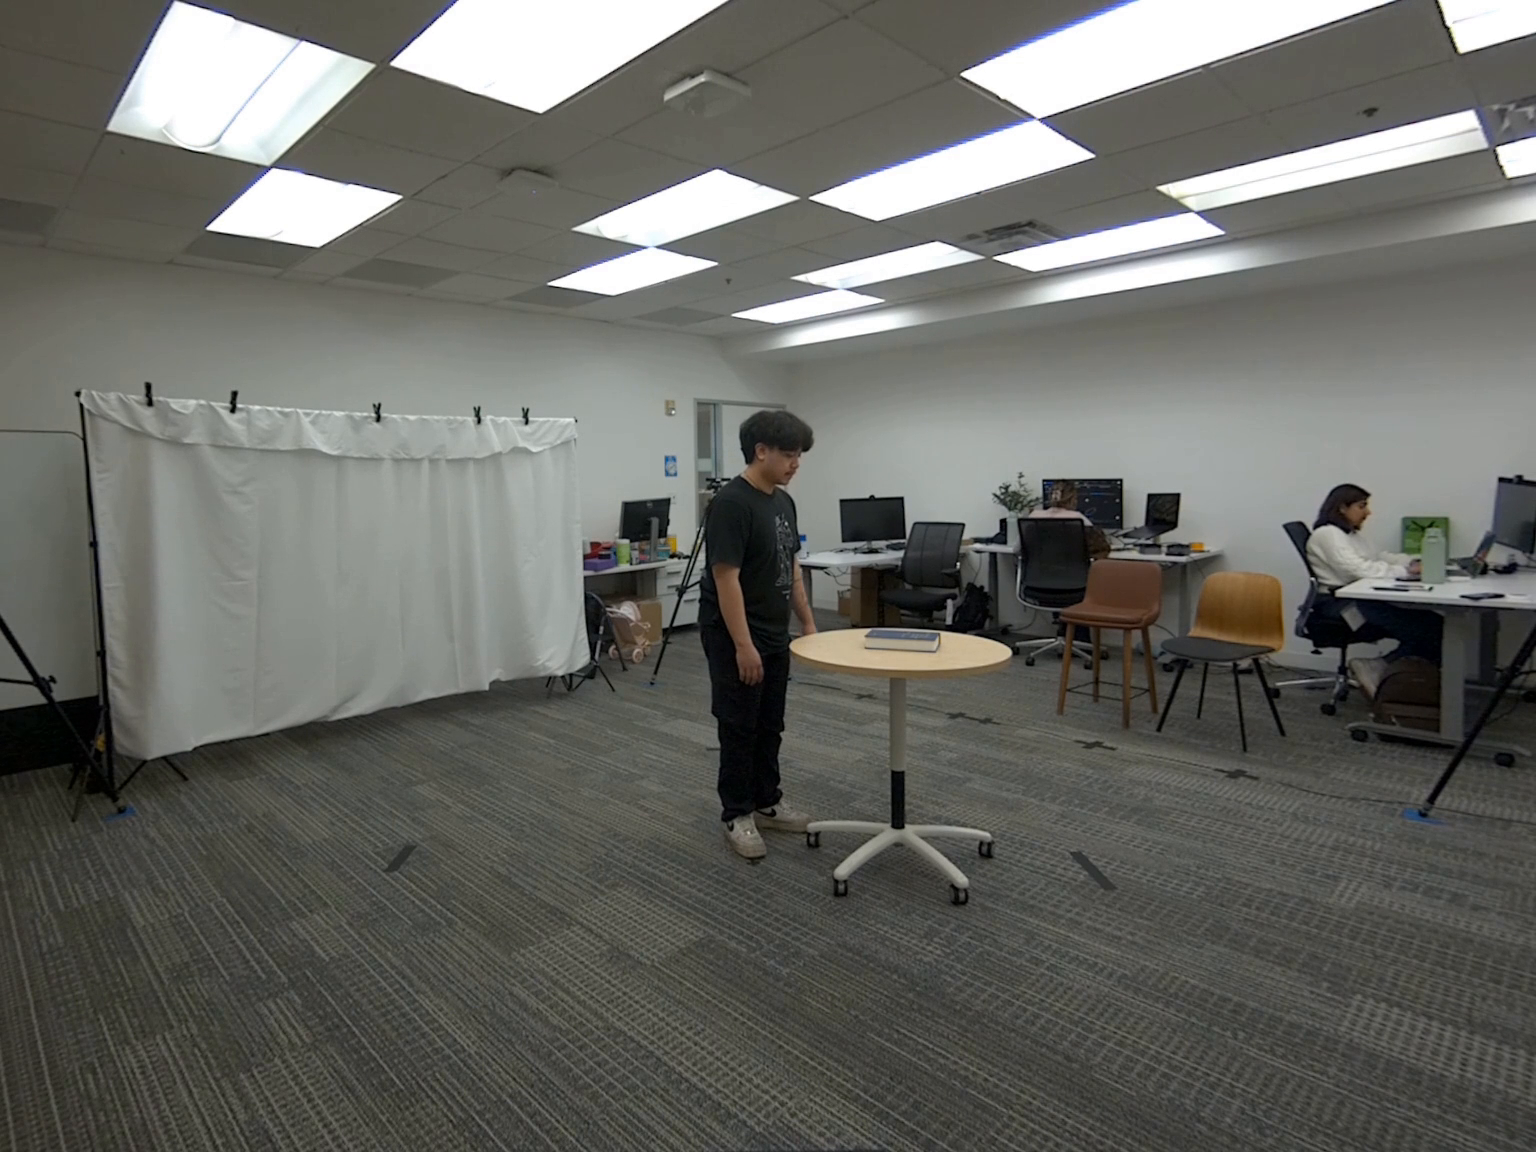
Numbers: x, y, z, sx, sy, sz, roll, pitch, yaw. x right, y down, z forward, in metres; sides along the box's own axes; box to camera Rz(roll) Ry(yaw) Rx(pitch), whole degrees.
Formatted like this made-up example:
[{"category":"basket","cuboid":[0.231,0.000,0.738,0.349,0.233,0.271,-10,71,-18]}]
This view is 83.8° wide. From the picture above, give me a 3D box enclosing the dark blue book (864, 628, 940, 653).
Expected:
[{"category":"dark blue book","cuboid":[0.481,0.229,3.026,0.250,0.045,0.161,2,7,19]}]
